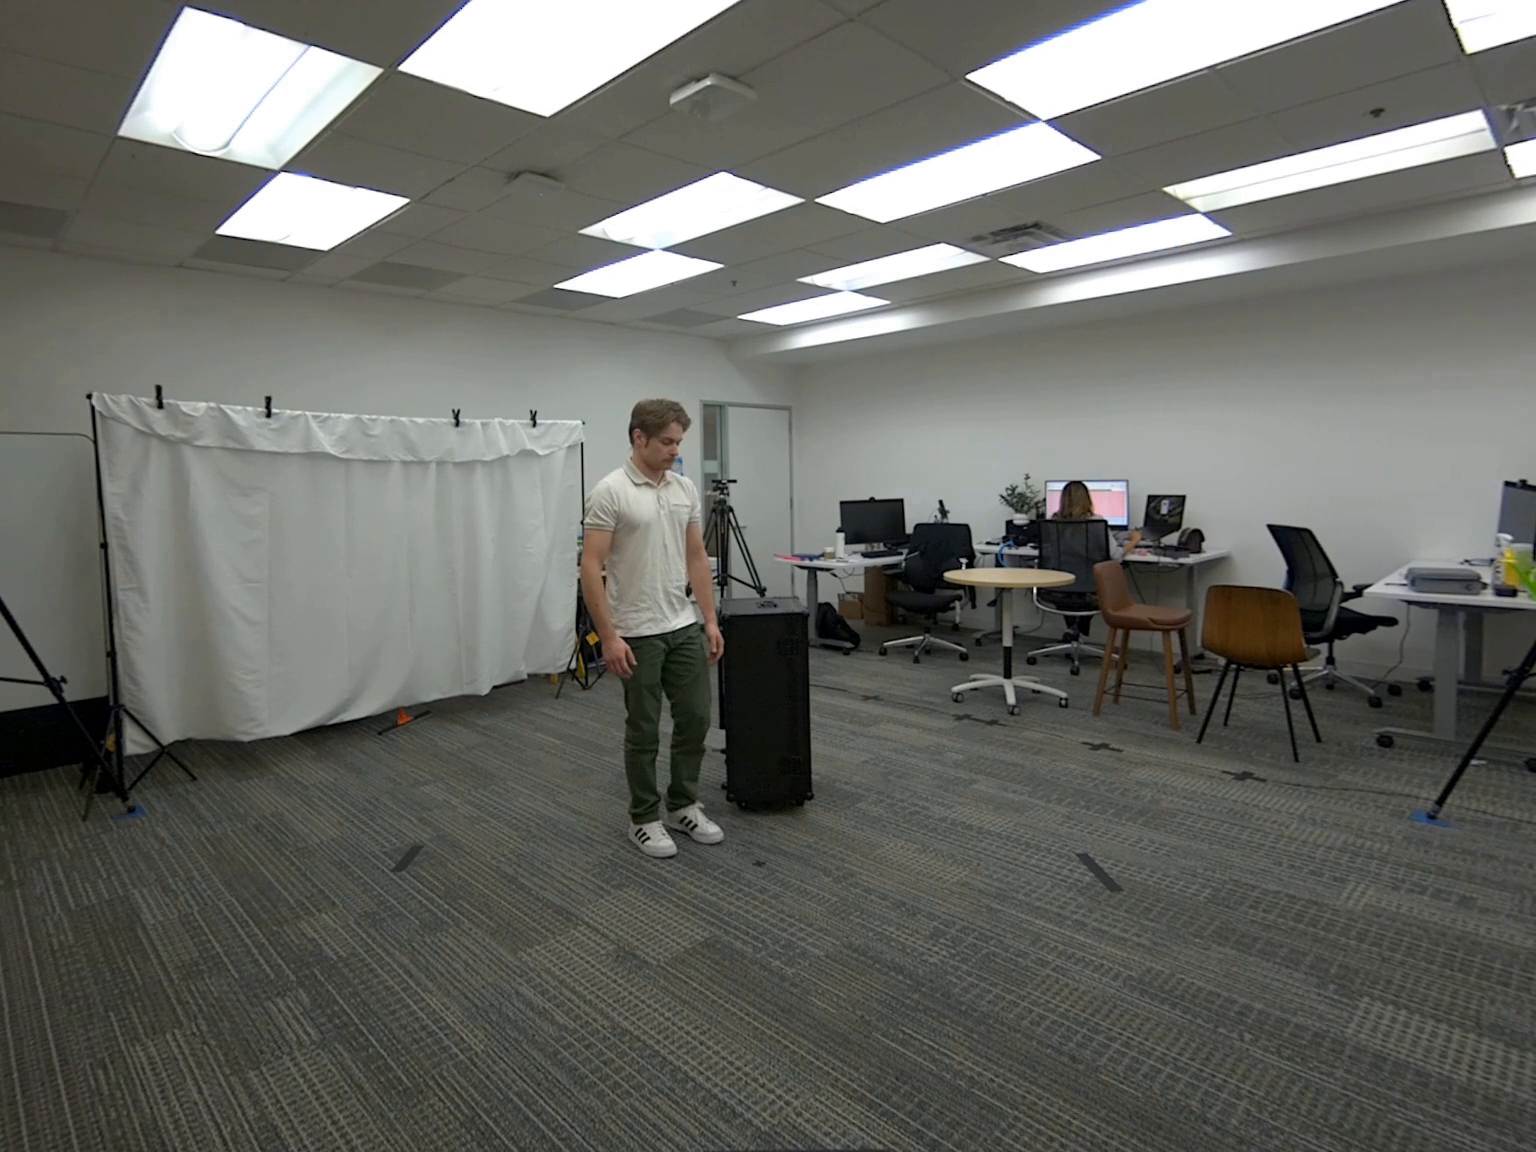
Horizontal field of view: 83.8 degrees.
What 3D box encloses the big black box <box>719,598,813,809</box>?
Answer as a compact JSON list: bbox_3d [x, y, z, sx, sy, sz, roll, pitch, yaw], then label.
[{"bbox_3d":[-0.025,0.545,3.744,0.396,0.858,0.524,-2,5,-2],"label":"big black box"}]
